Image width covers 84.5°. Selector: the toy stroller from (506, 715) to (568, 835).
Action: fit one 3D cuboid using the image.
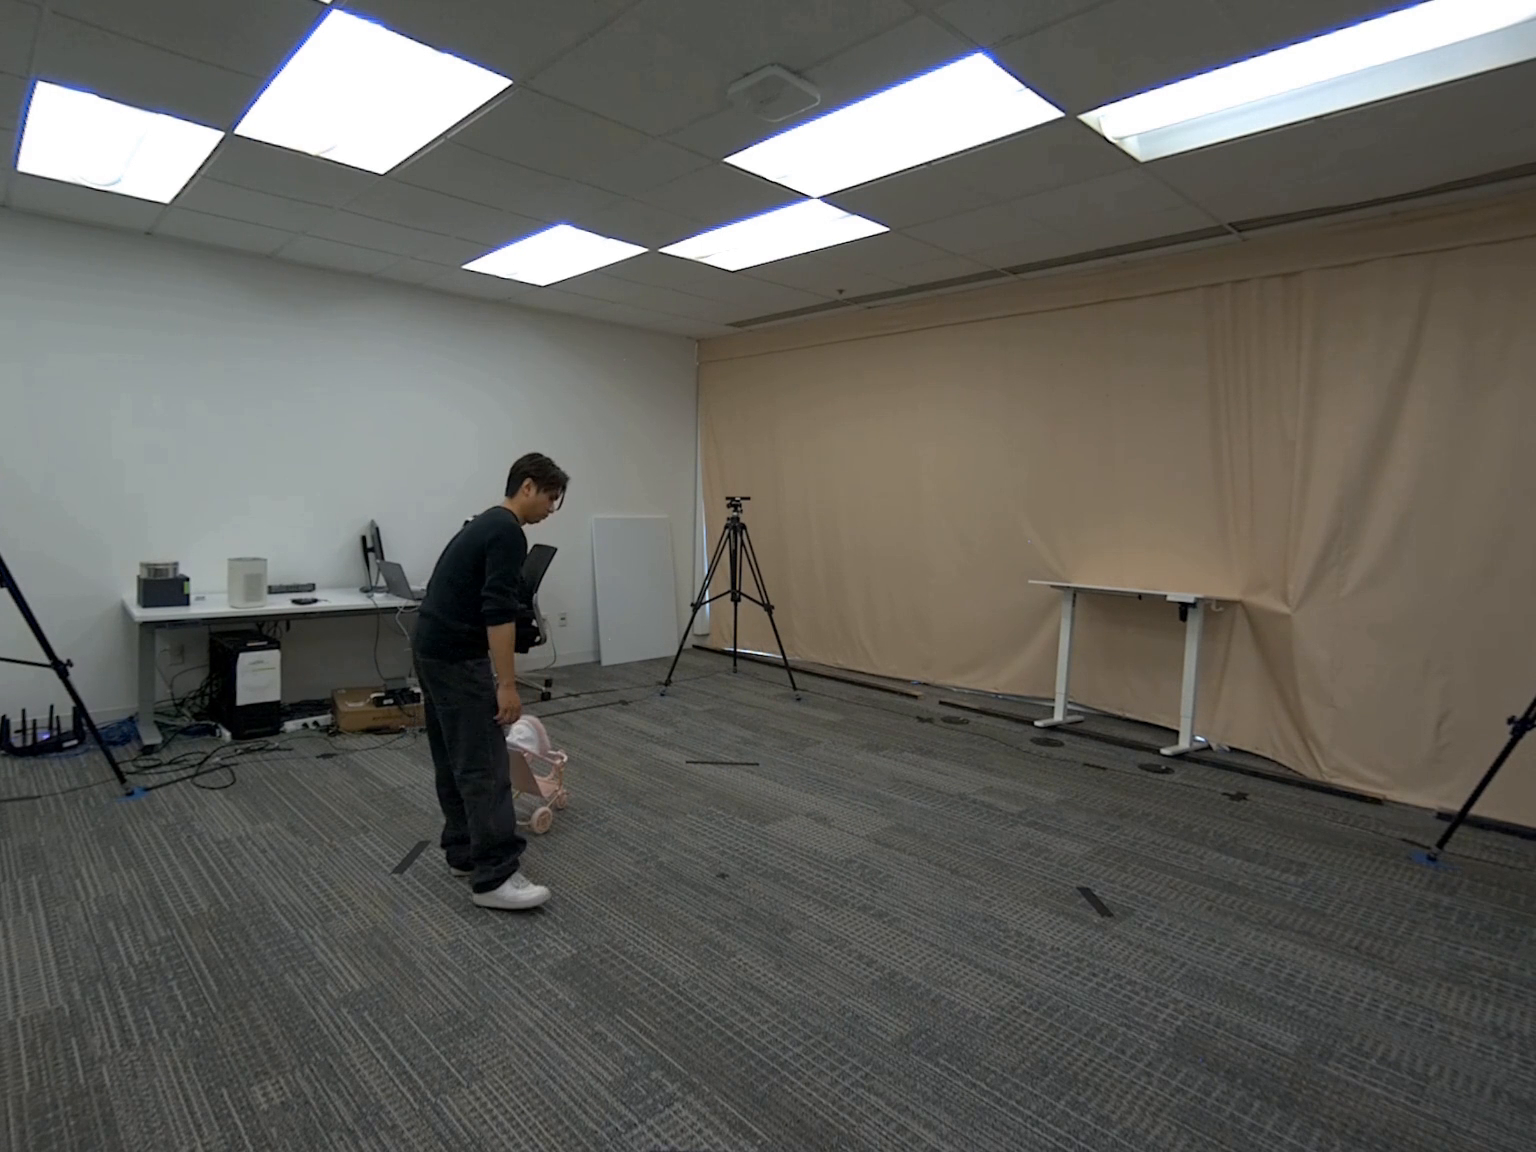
[{"bbox_3d":[-1.009,0.826,3.560,0.288,0.528,0.338,3,20,33],"label":"toy stroller"}]
